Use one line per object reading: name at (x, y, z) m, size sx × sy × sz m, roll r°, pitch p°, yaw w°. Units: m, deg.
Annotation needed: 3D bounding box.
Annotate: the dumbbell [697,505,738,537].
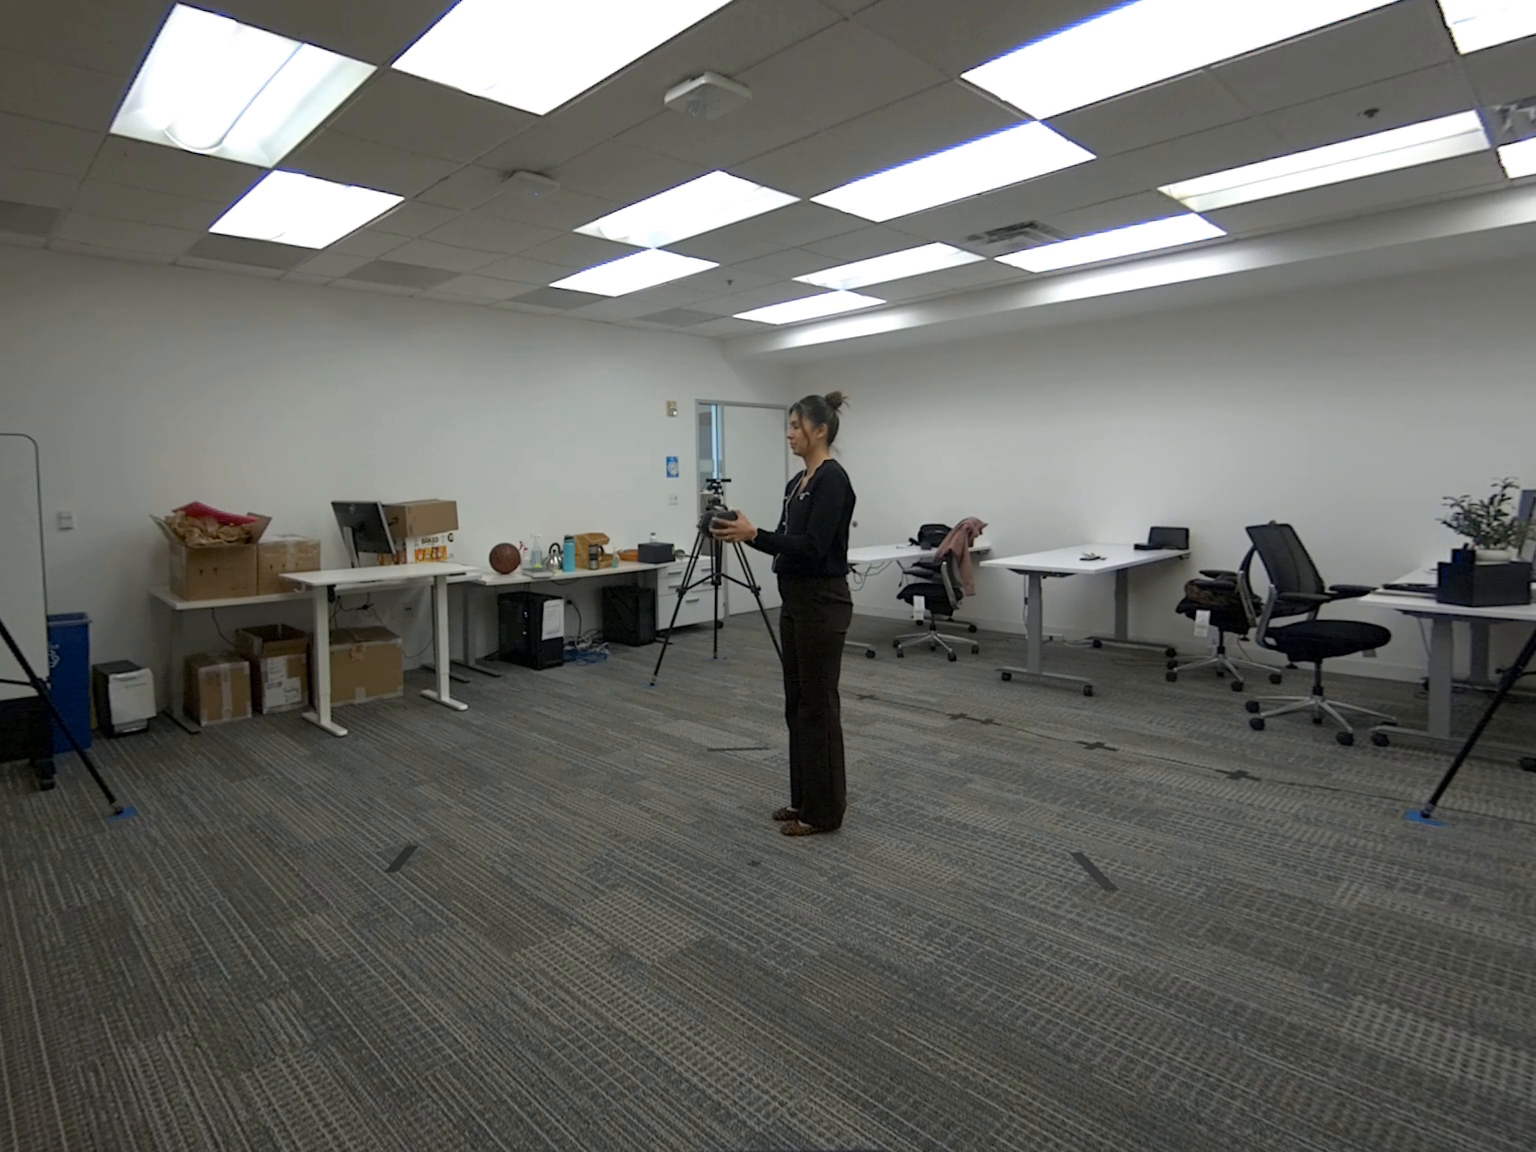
dumbbell at (-0.170, -0.197, 3.346) m, size 0.122 × 0.108 × 0.298 m, roll -11°, pitch 8°, yaw -9°
